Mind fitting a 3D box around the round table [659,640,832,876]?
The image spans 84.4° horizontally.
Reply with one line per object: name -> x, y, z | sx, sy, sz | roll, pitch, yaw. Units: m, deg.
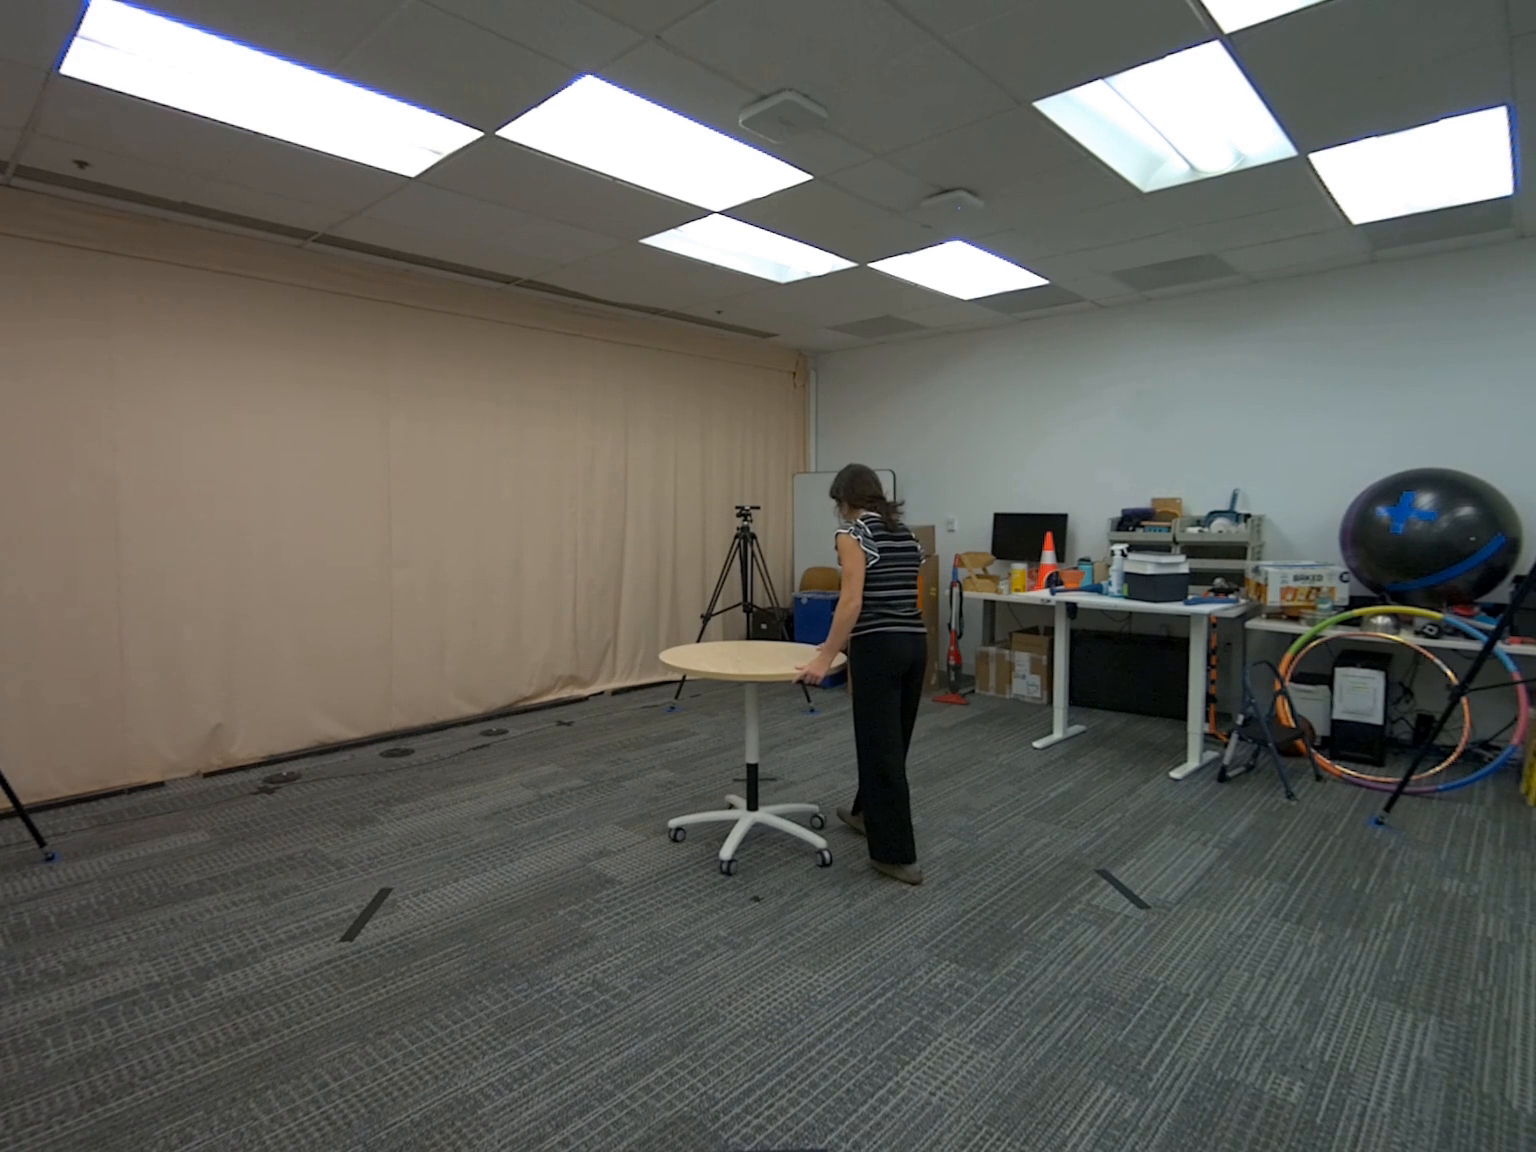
round table -> -0.067, 0.718, 3.460 | 0.763, 0.792, 0.766 | 0, 3, -2
